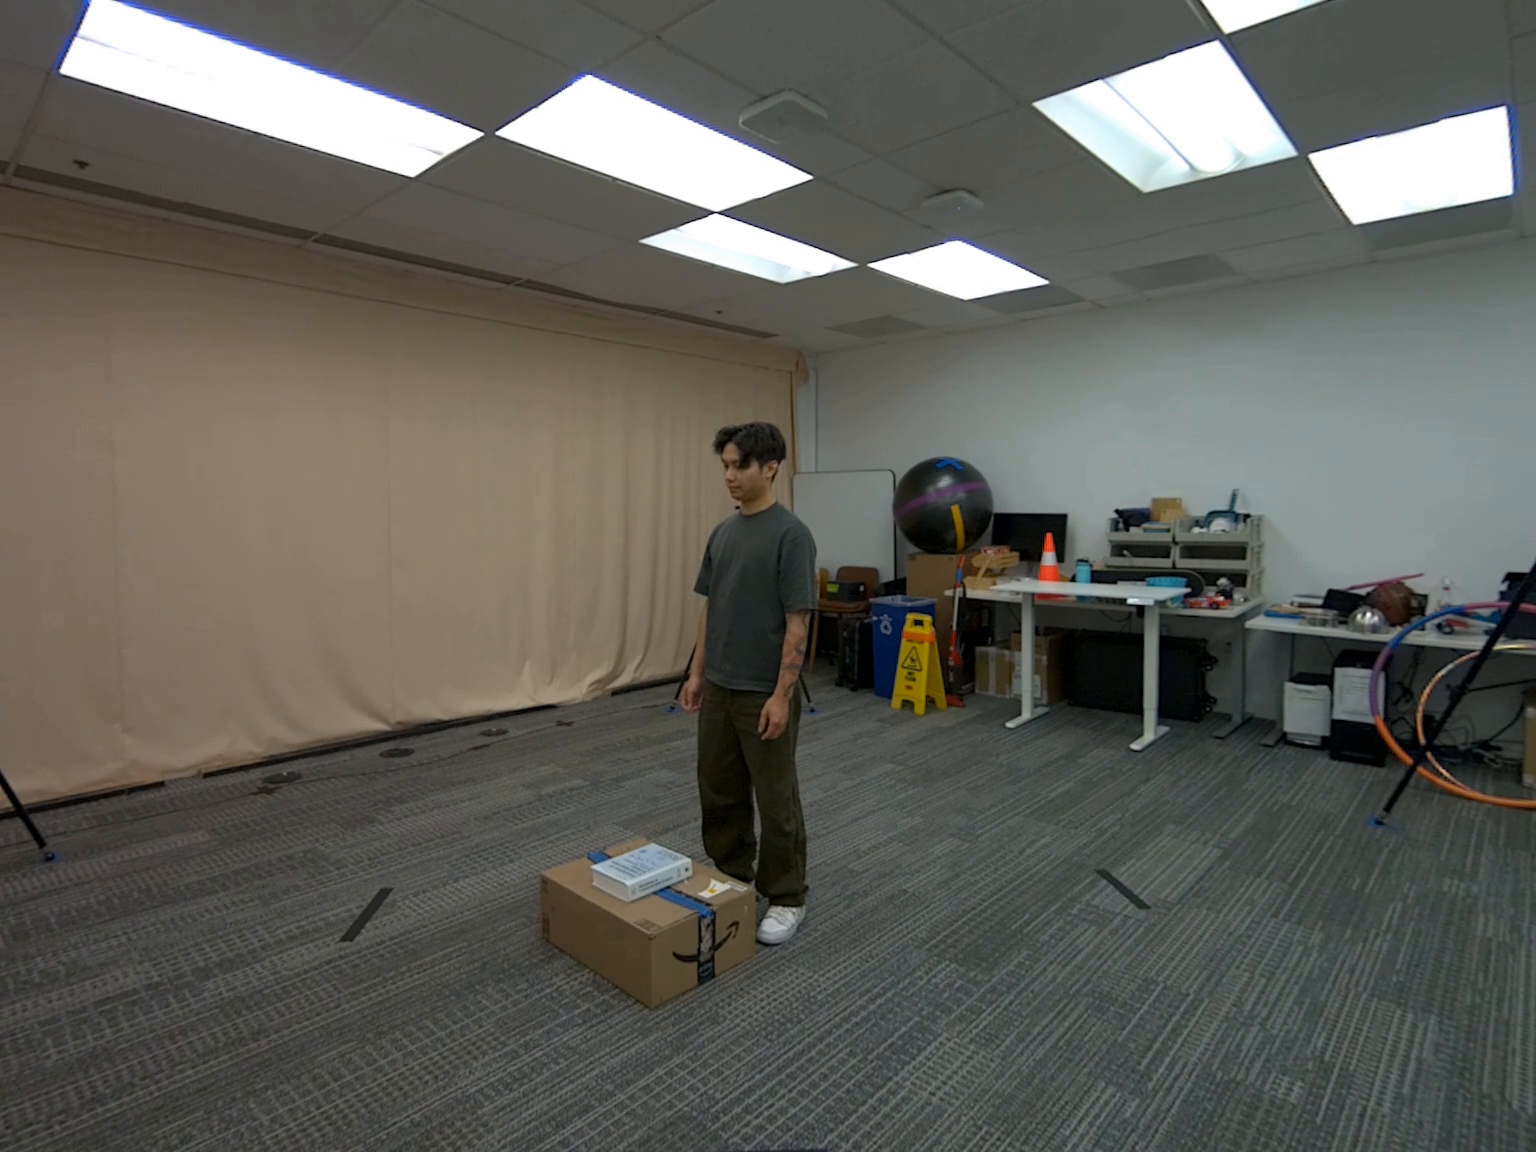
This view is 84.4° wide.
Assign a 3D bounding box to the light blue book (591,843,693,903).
[{"bbox_3d":[-0.398,0.935,2.666,0.198,0.059,0.253,3,5,43],"label":"light blue book"}]
